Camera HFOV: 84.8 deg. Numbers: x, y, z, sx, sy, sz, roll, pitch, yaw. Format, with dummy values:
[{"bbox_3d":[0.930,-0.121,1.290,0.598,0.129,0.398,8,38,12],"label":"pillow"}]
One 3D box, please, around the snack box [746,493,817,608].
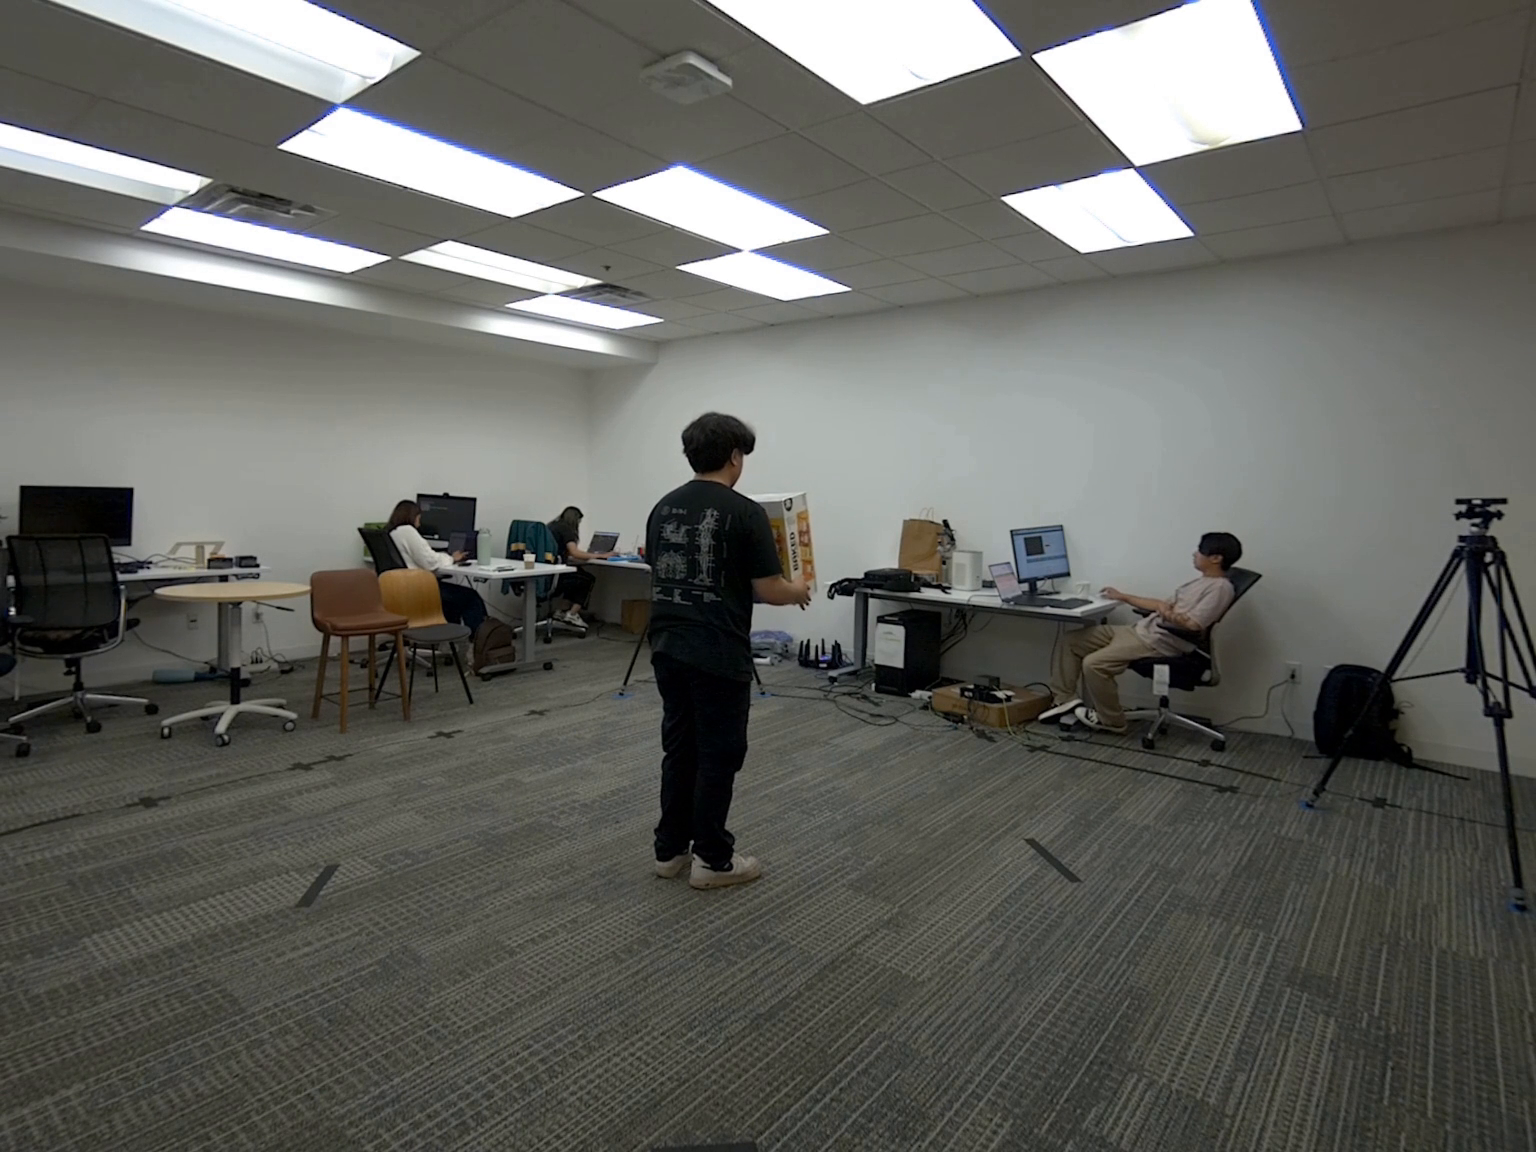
[{"bbox_3d":[-0.026,-0.108,3.335,0.350,0.401,0.202,1,11,32],"label":"snack box"}]
